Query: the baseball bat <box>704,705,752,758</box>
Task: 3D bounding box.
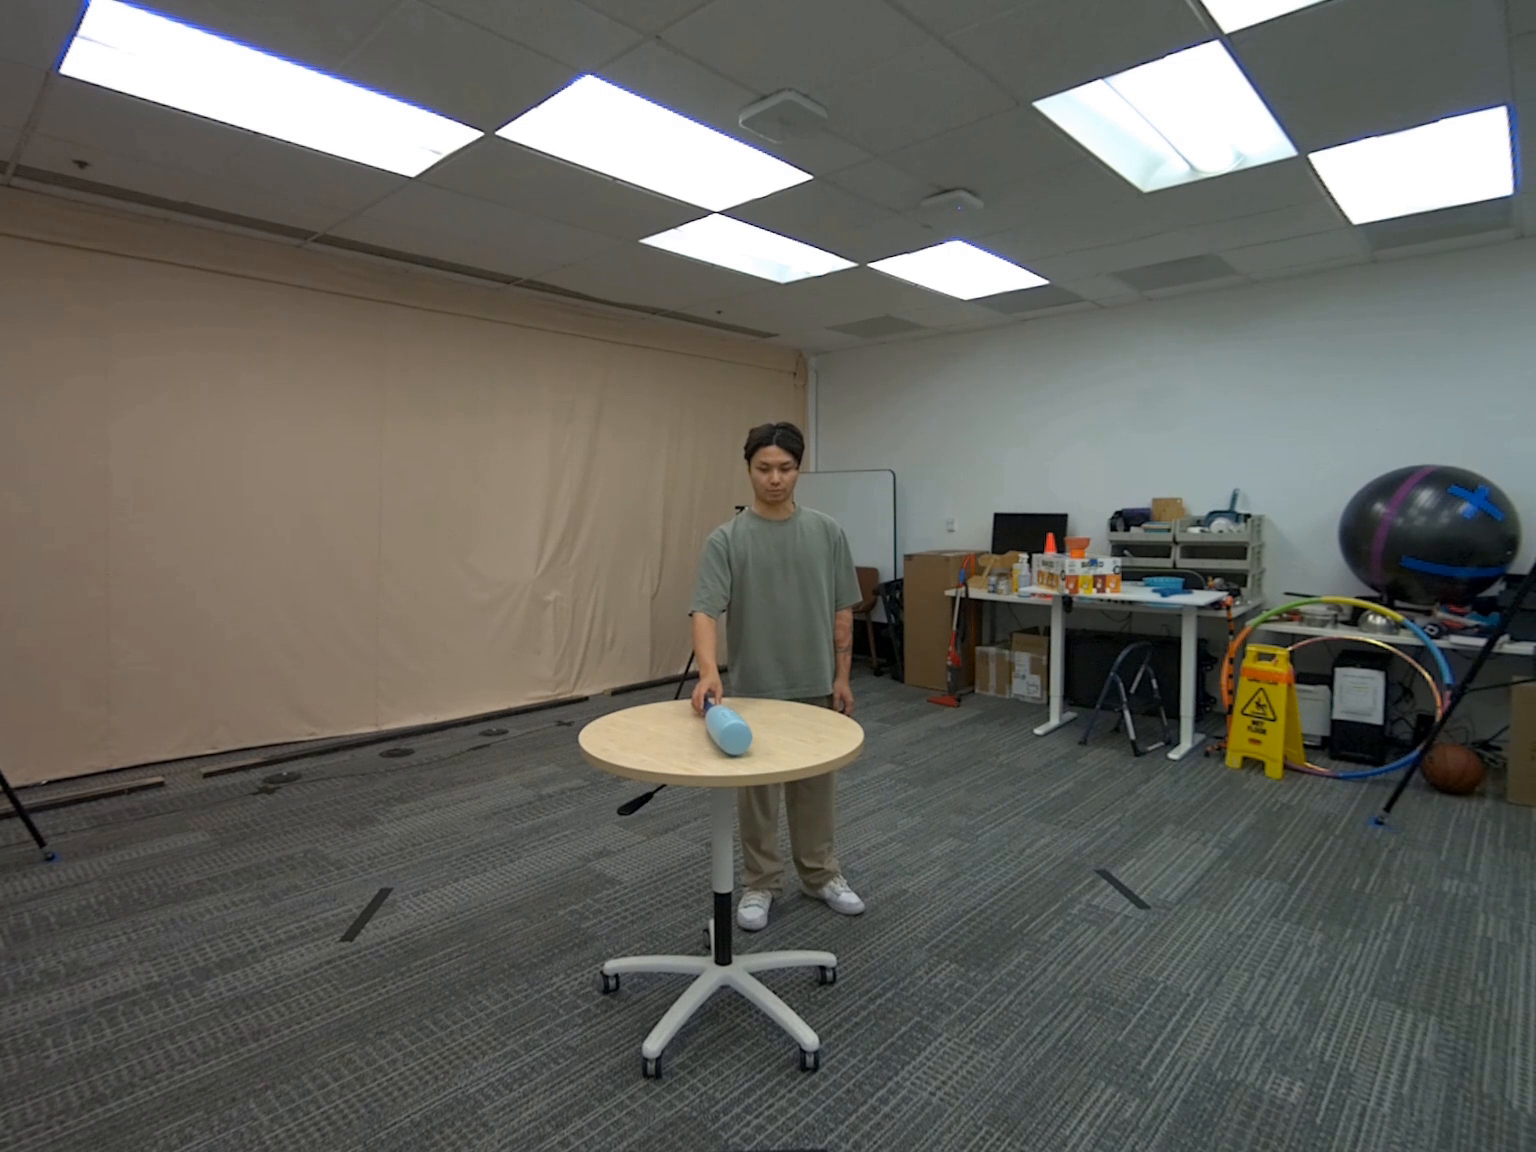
[{"bbox_3d":[-0.137,0.383,2.281,0.088,0.089,0.550,-1,1,-14],"label":"baseball bat"}]
